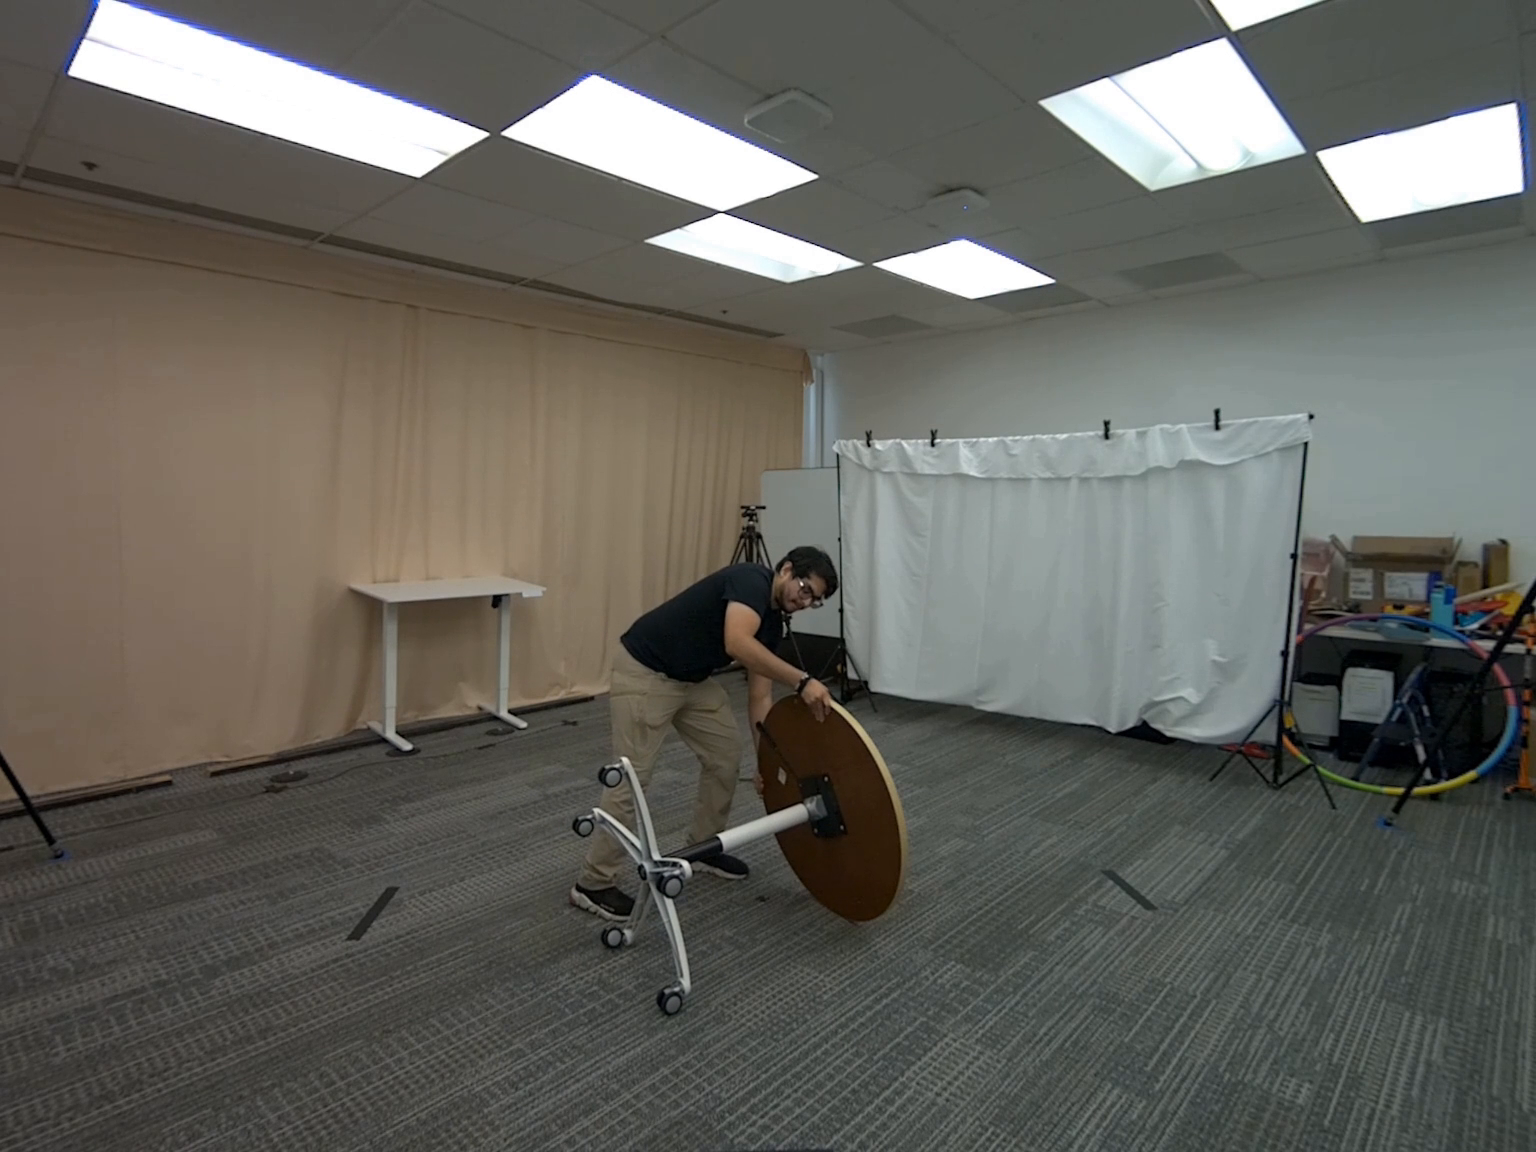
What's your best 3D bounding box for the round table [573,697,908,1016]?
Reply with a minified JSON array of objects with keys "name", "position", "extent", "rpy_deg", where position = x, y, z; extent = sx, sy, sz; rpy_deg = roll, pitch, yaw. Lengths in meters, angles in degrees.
[{"name":"round table","position":[-0.112,0.838,2.654],"extent":[0.767,0.780,0.809],"rpy_deg":[-12,9,-32]}]
